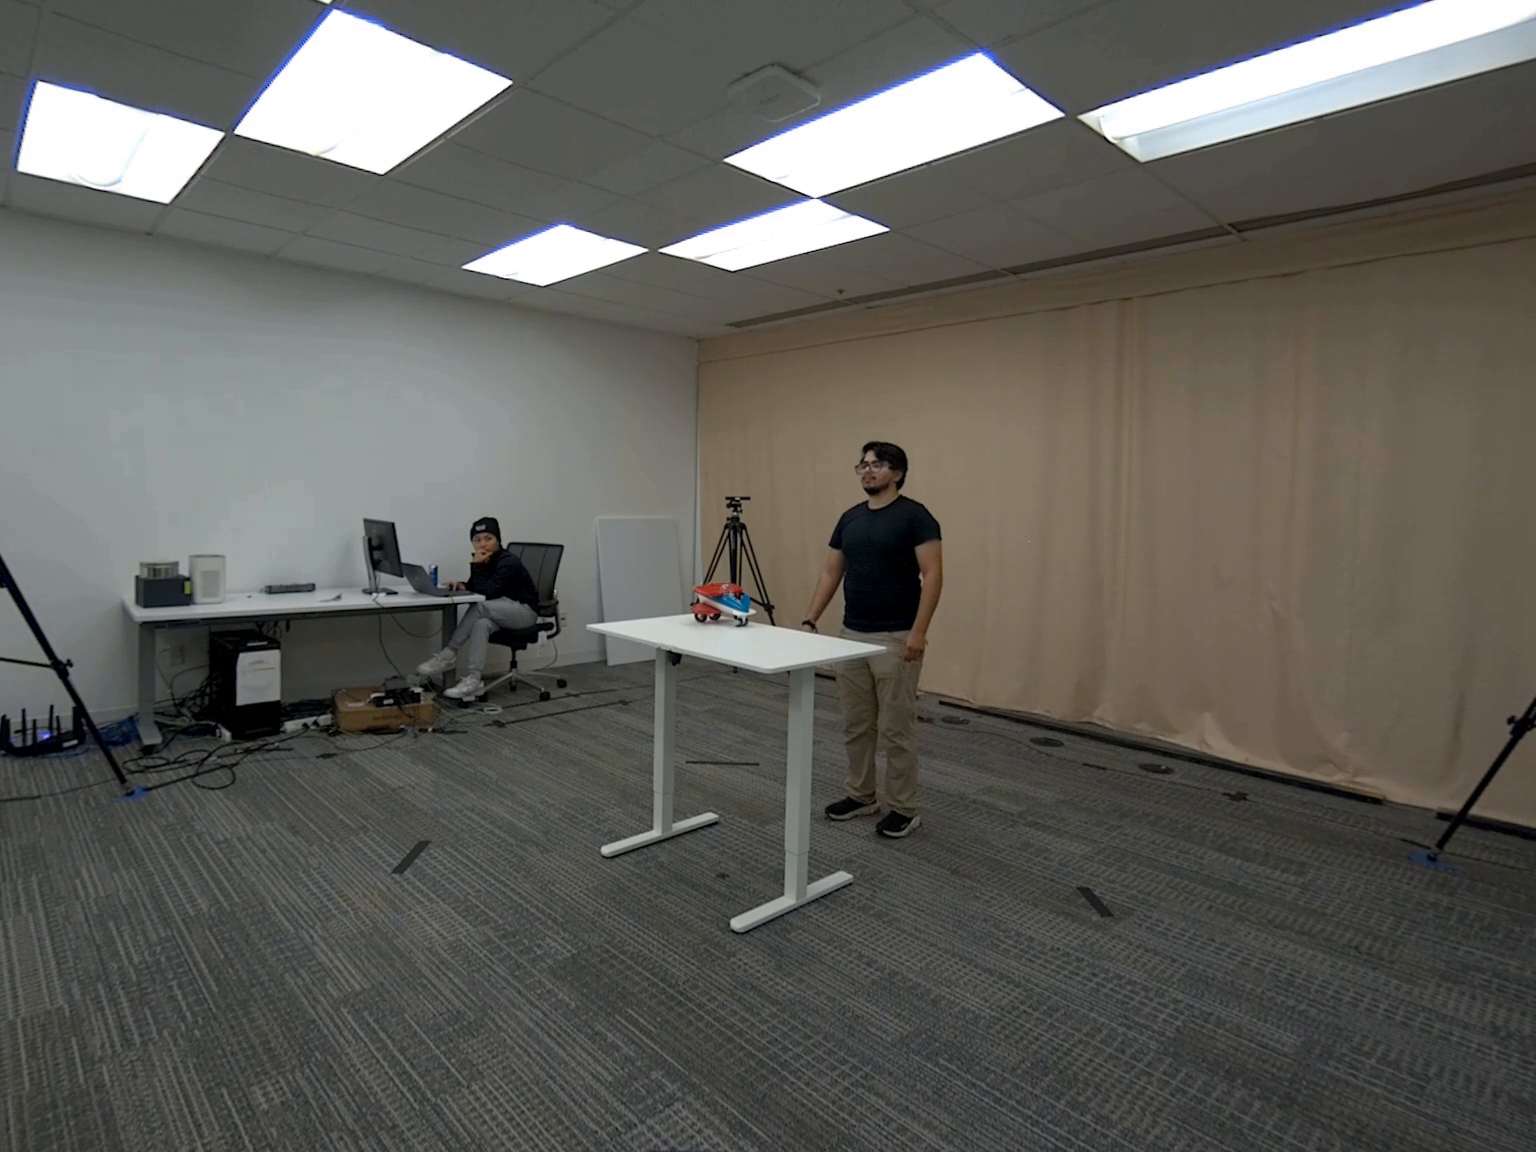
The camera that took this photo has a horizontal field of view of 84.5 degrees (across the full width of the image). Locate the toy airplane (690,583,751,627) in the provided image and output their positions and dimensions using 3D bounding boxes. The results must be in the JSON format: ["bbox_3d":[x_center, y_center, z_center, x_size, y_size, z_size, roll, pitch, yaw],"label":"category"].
[{"bbox_3d":[-0.176,0.115,3.411,0.261,0.156,0.250,1,6,11],"label":"toy airplane"}]
